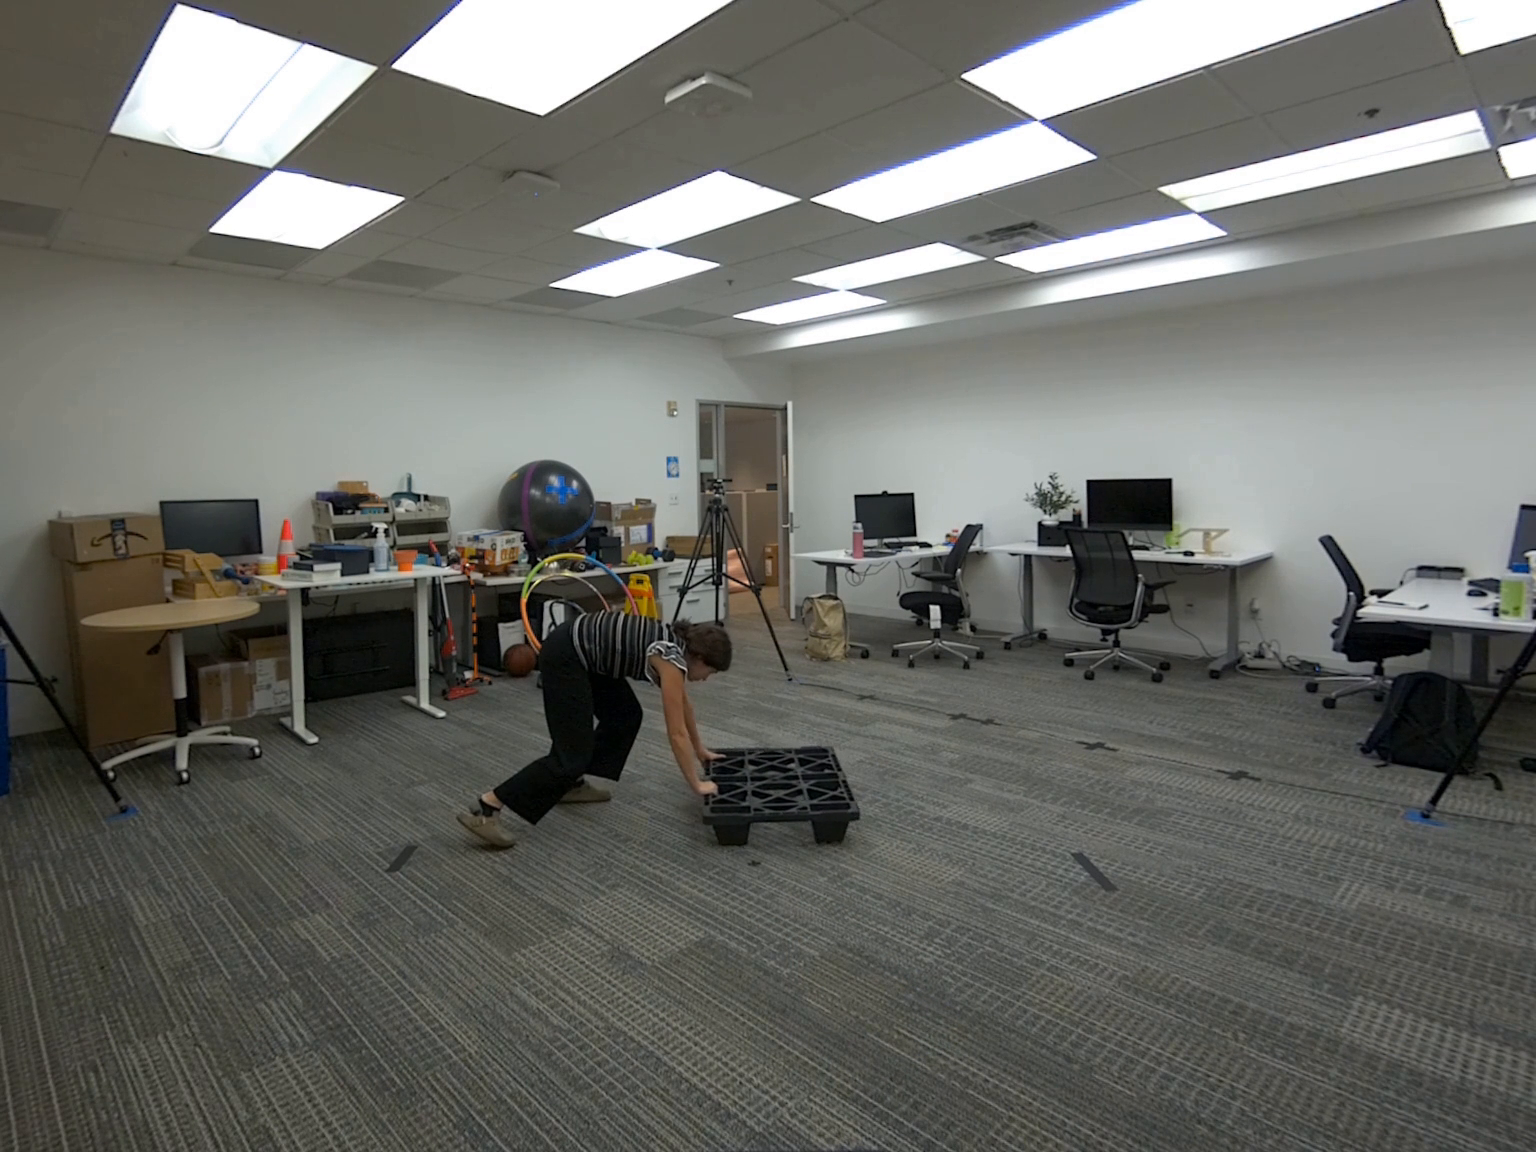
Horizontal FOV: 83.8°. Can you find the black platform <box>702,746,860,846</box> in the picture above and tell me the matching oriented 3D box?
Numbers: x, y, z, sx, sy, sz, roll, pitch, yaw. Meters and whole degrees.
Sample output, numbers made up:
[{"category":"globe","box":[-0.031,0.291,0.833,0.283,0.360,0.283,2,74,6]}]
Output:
[{"category":"black platform","box":[0.030,0.914,3.613,0.605,0.142,0.810,-1,6,-2]}]
